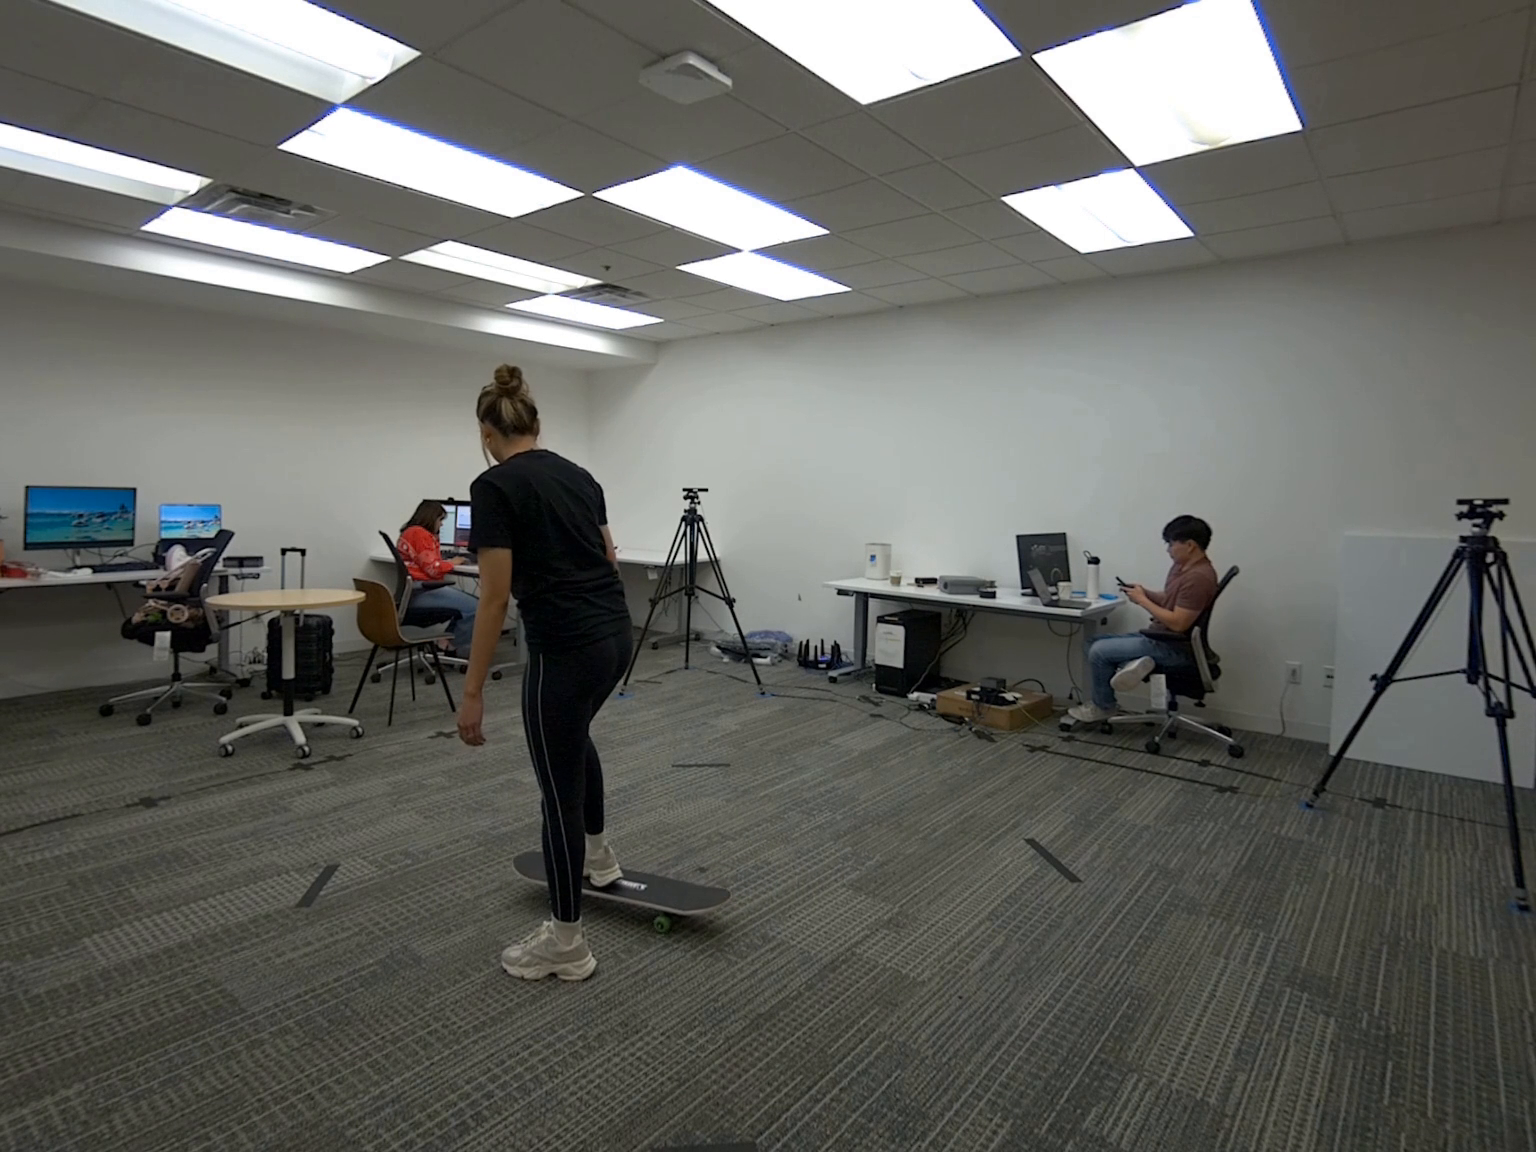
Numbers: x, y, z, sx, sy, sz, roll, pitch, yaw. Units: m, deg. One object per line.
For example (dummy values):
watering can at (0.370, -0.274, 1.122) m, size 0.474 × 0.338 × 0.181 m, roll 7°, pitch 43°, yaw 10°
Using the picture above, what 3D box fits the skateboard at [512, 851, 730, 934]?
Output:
skateboard at (-0.500, 1.040, 2.795) m, size 0.803 × 0.110 × 0.190 m, roll 3°, pitch 5°, yaw 20°
